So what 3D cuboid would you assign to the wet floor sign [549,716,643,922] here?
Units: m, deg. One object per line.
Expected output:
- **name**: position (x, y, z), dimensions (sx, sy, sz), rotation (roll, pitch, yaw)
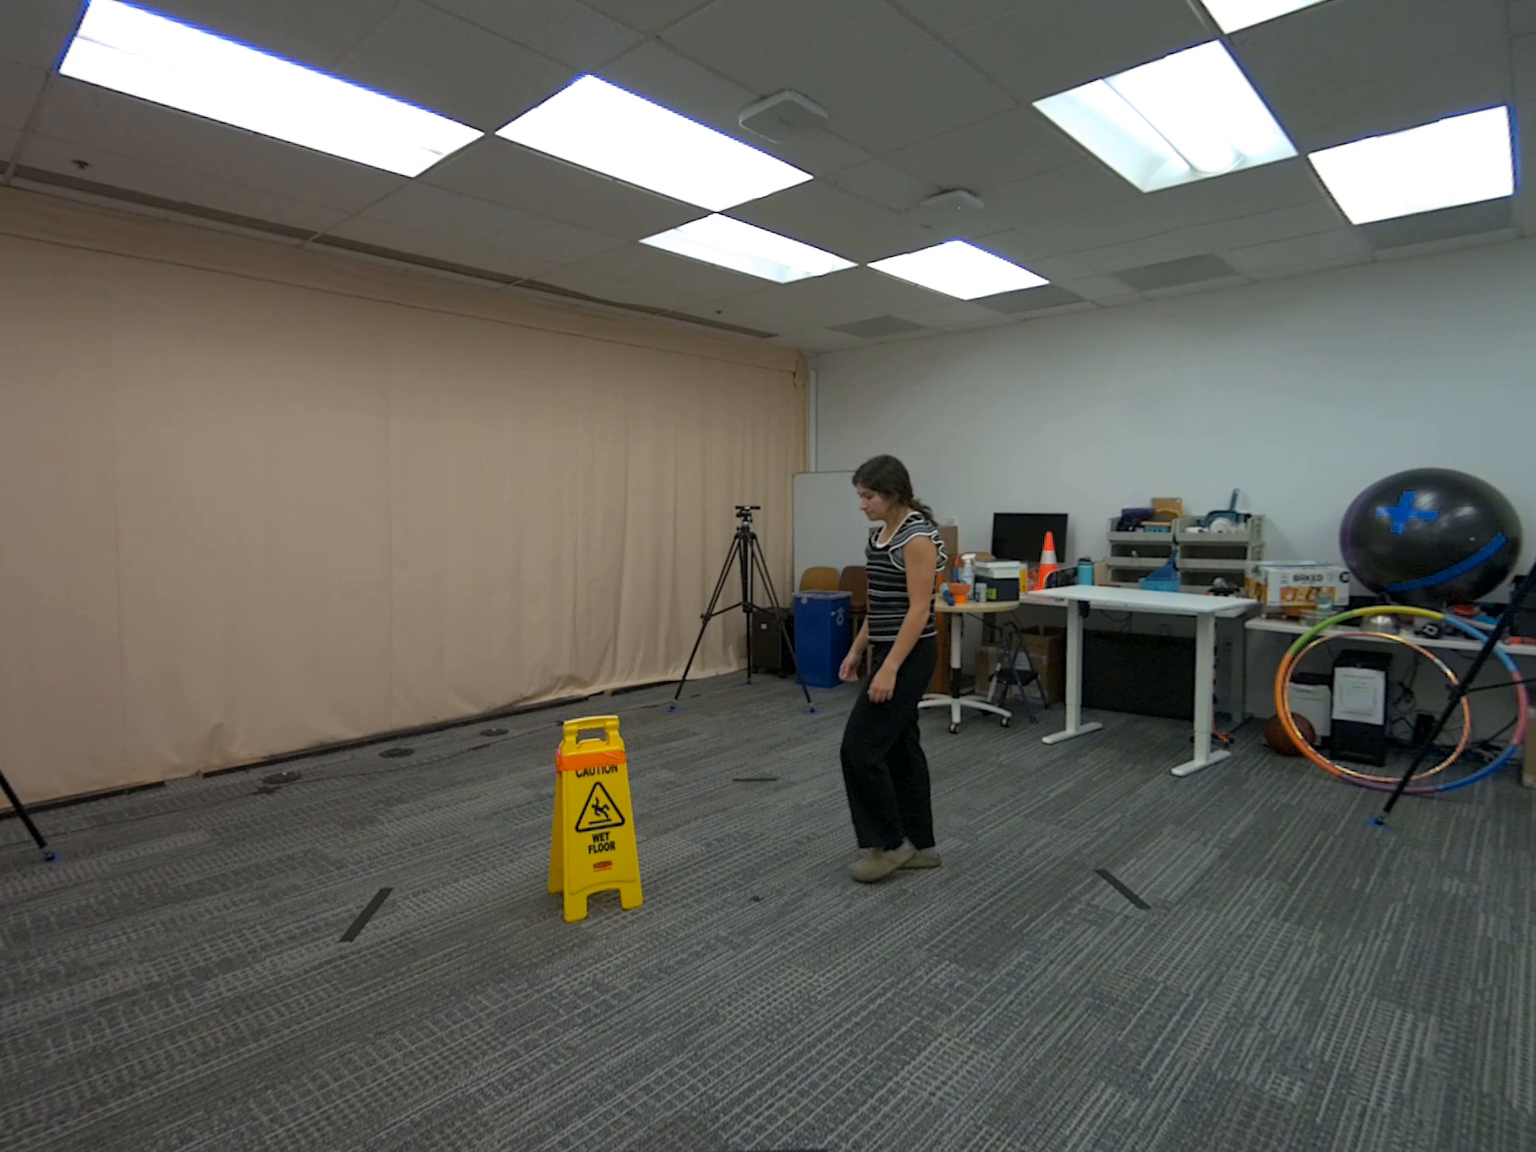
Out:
- **wet floor sign**: position (-0.623, 0.826, 2.978), dimensions (0.276, 0.645, 0.297), rotation (-2, 3, -25)
